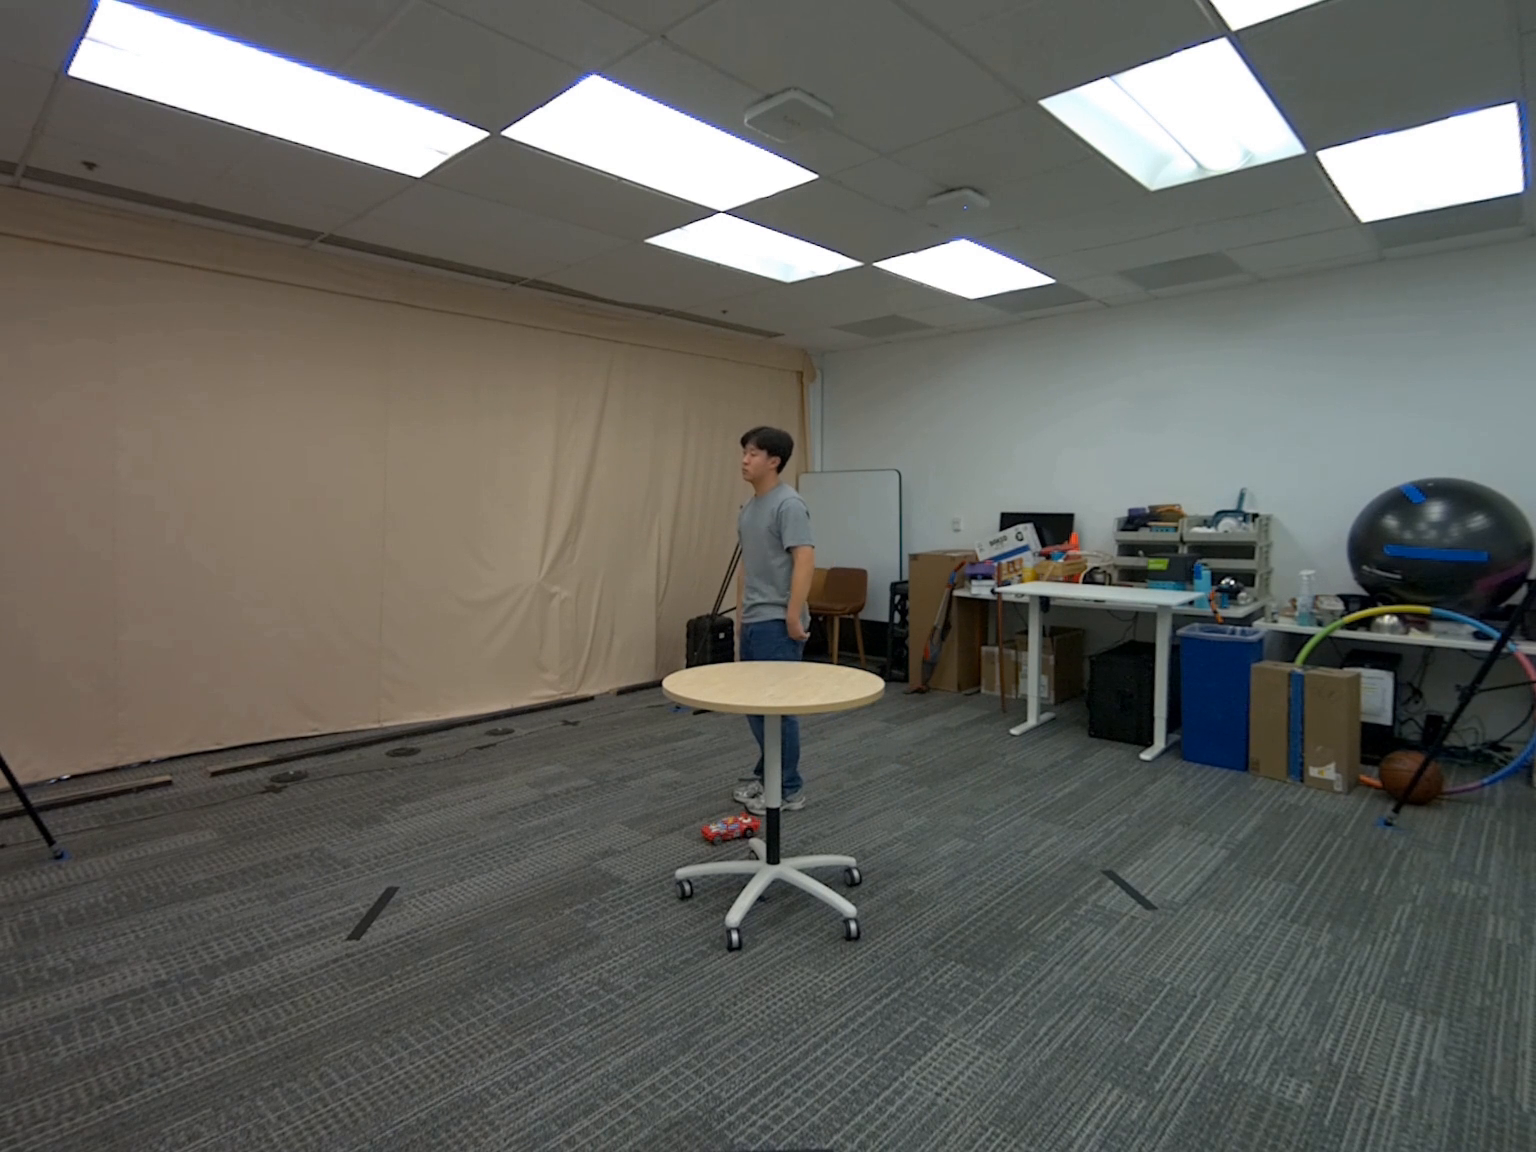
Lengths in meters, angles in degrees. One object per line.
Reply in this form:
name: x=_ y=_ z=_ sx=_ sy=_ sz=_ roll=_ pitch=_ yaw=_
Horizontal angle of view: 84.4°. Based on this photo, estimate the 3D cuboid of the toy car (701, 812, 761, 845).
toy car: x=-0.152 y=1.068 z=3.546 sx=0.249 sy=0.083 sz=0.134 roll=-15 pitch=10 yaw=-26
